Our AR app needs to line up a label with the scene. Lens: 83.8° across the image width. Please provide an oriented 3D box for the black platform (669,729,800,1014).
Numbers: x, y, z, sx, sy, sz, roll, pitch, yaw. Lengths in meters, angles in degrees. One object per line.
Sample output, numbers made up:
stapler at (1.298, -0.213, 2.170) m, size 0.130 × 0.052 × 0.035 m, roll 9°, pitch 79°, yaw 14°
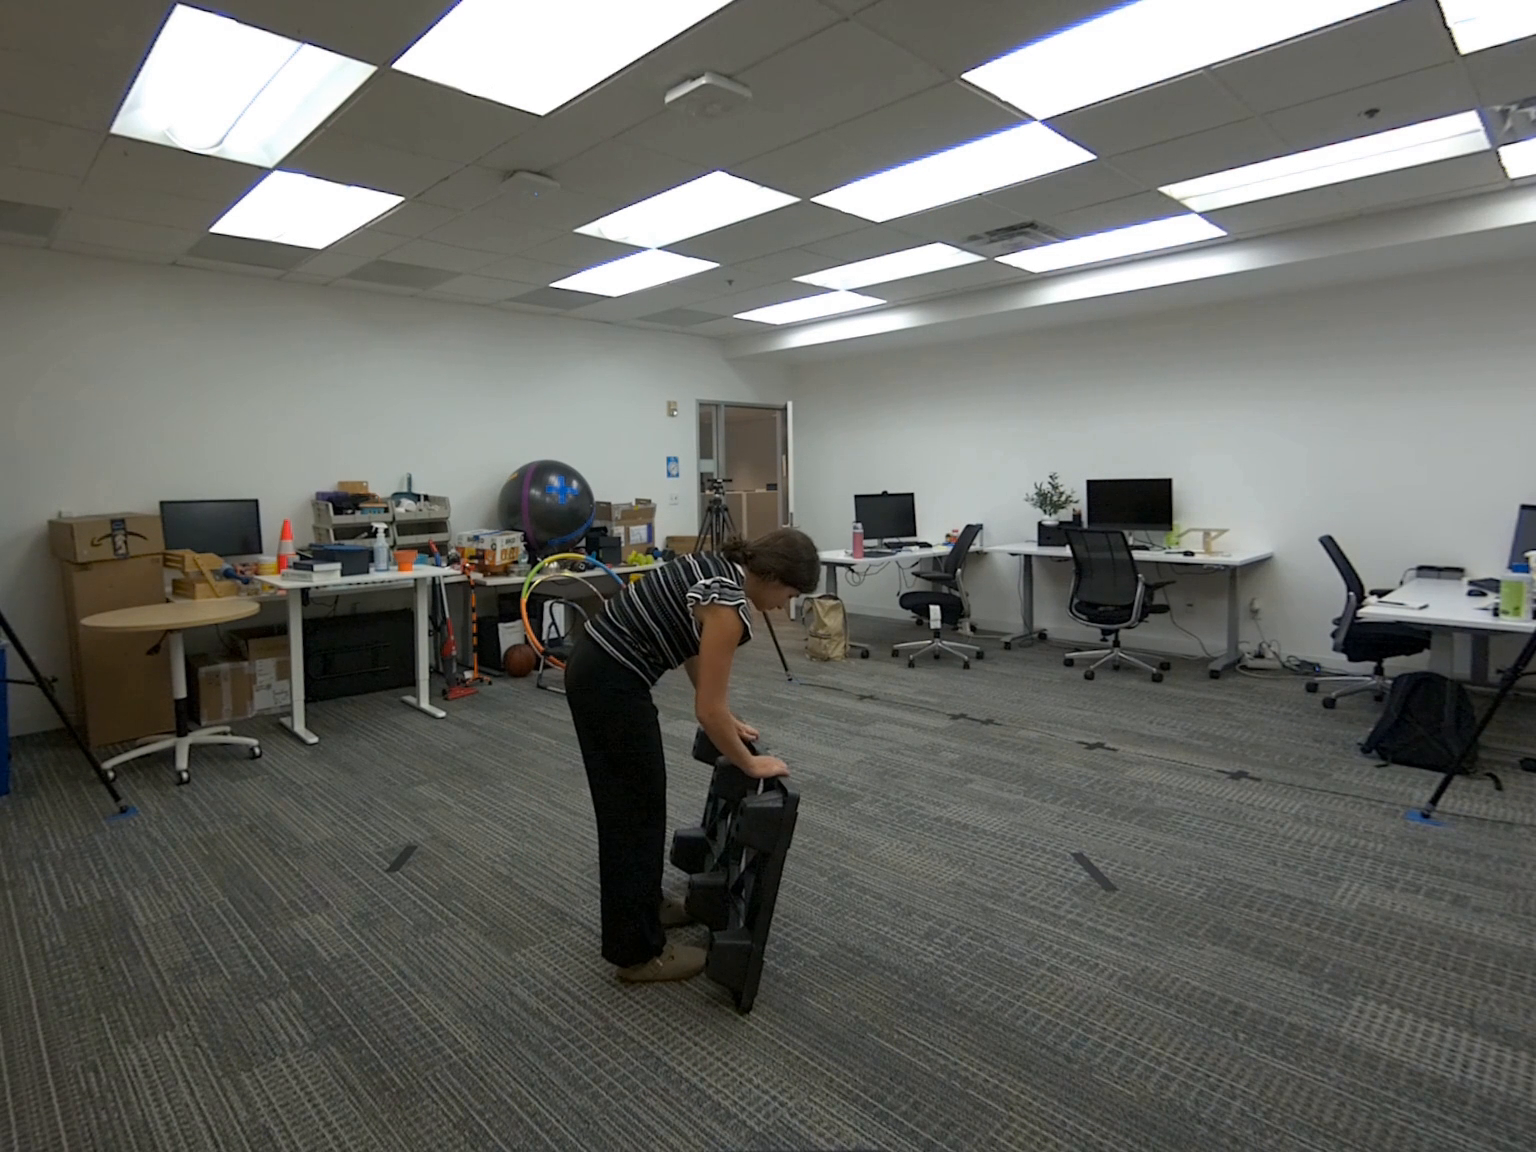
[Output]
black platform at (-0.132, 0.795, 2.603) m, size 0.141 × 0.604 × 0.819 m, roll 12°, pitch 2°, yaw -16°
